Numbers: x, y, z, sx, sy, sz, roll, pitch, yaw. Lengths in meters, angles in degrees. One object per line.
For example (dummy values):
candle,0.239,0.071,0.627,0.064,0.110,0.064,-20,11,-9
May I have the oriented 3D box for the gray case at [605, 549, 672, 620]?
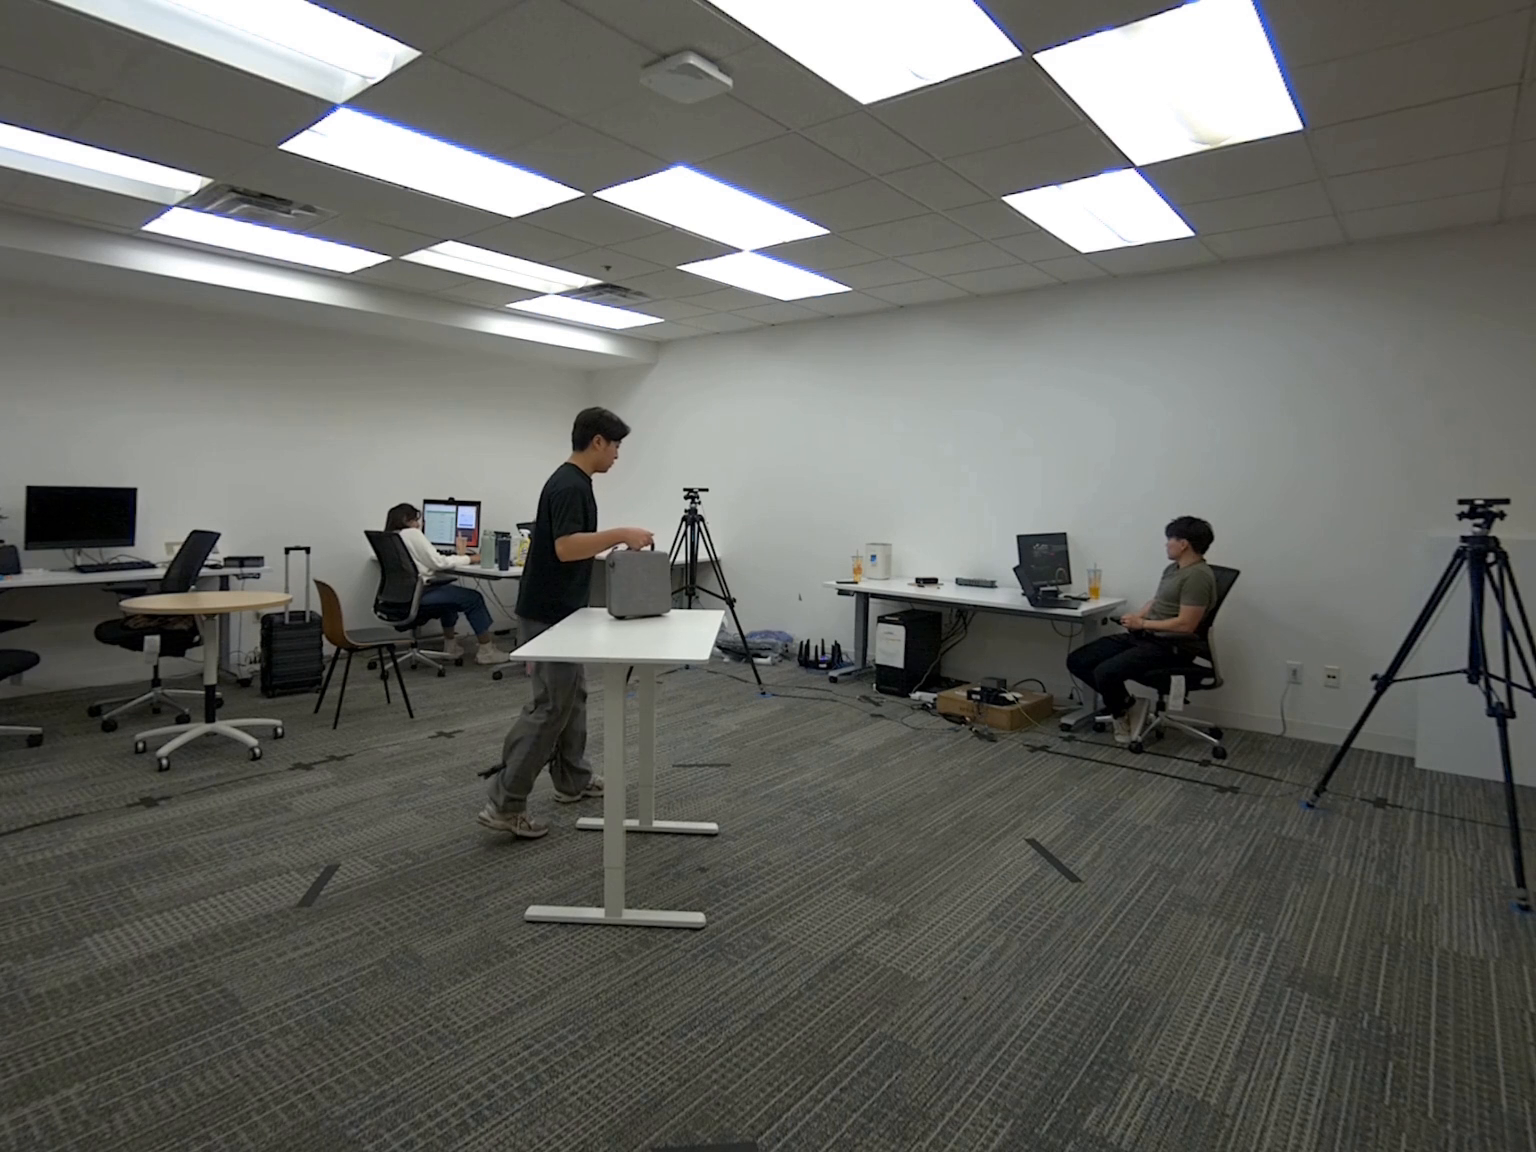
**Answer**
gray case,-0.511,0.014,3.320,0.255,0.288,0.106,0,-2,-36
